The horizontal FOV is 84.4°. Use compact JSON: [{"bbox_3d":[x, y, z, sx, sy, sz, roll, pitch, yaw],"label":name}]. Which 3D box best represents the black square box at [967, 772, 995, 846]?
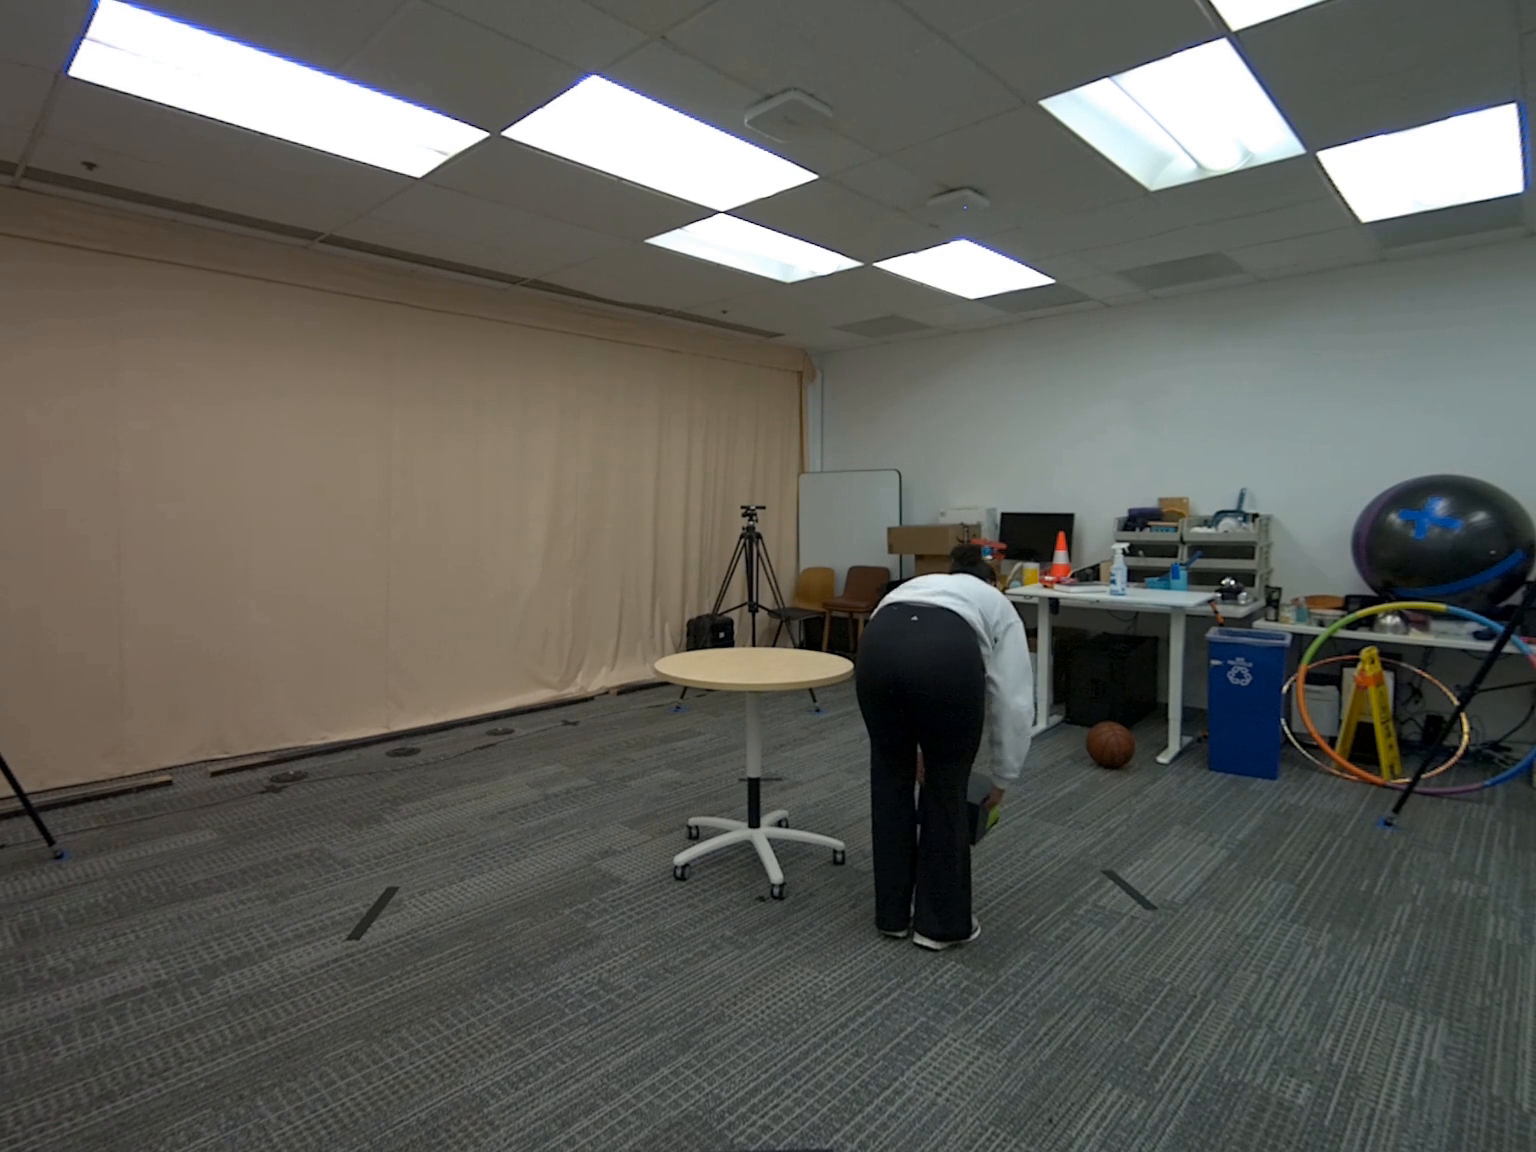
[{"bbox_3d":[0.679,0.782,2.933,0.224,0.155,0.222,13,16,34],"label":"black square box"}]
